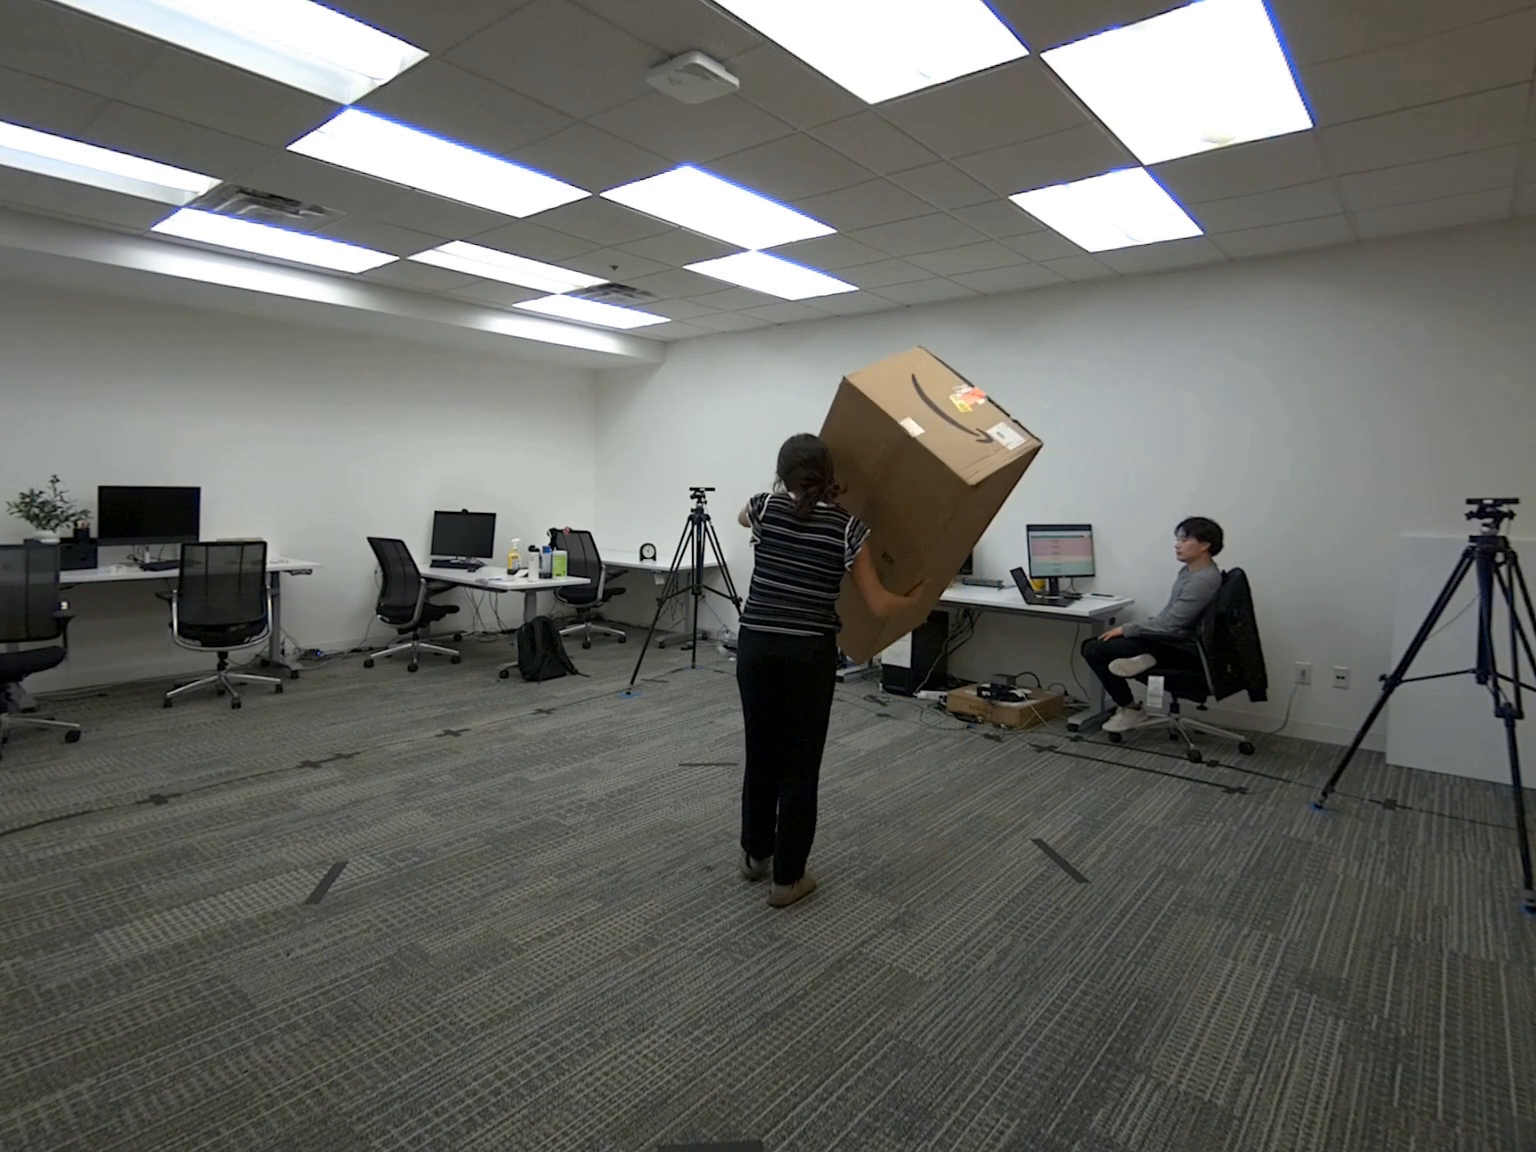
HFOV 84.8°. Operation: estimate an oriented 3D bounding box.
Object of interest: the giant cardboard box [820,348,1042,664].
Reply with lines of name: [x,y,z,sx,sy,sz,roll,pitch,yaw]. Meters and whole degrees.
giant cardboard box: [0.442,-0.229,3.186,0.420,1.010,0.595,-27,64,-36]
